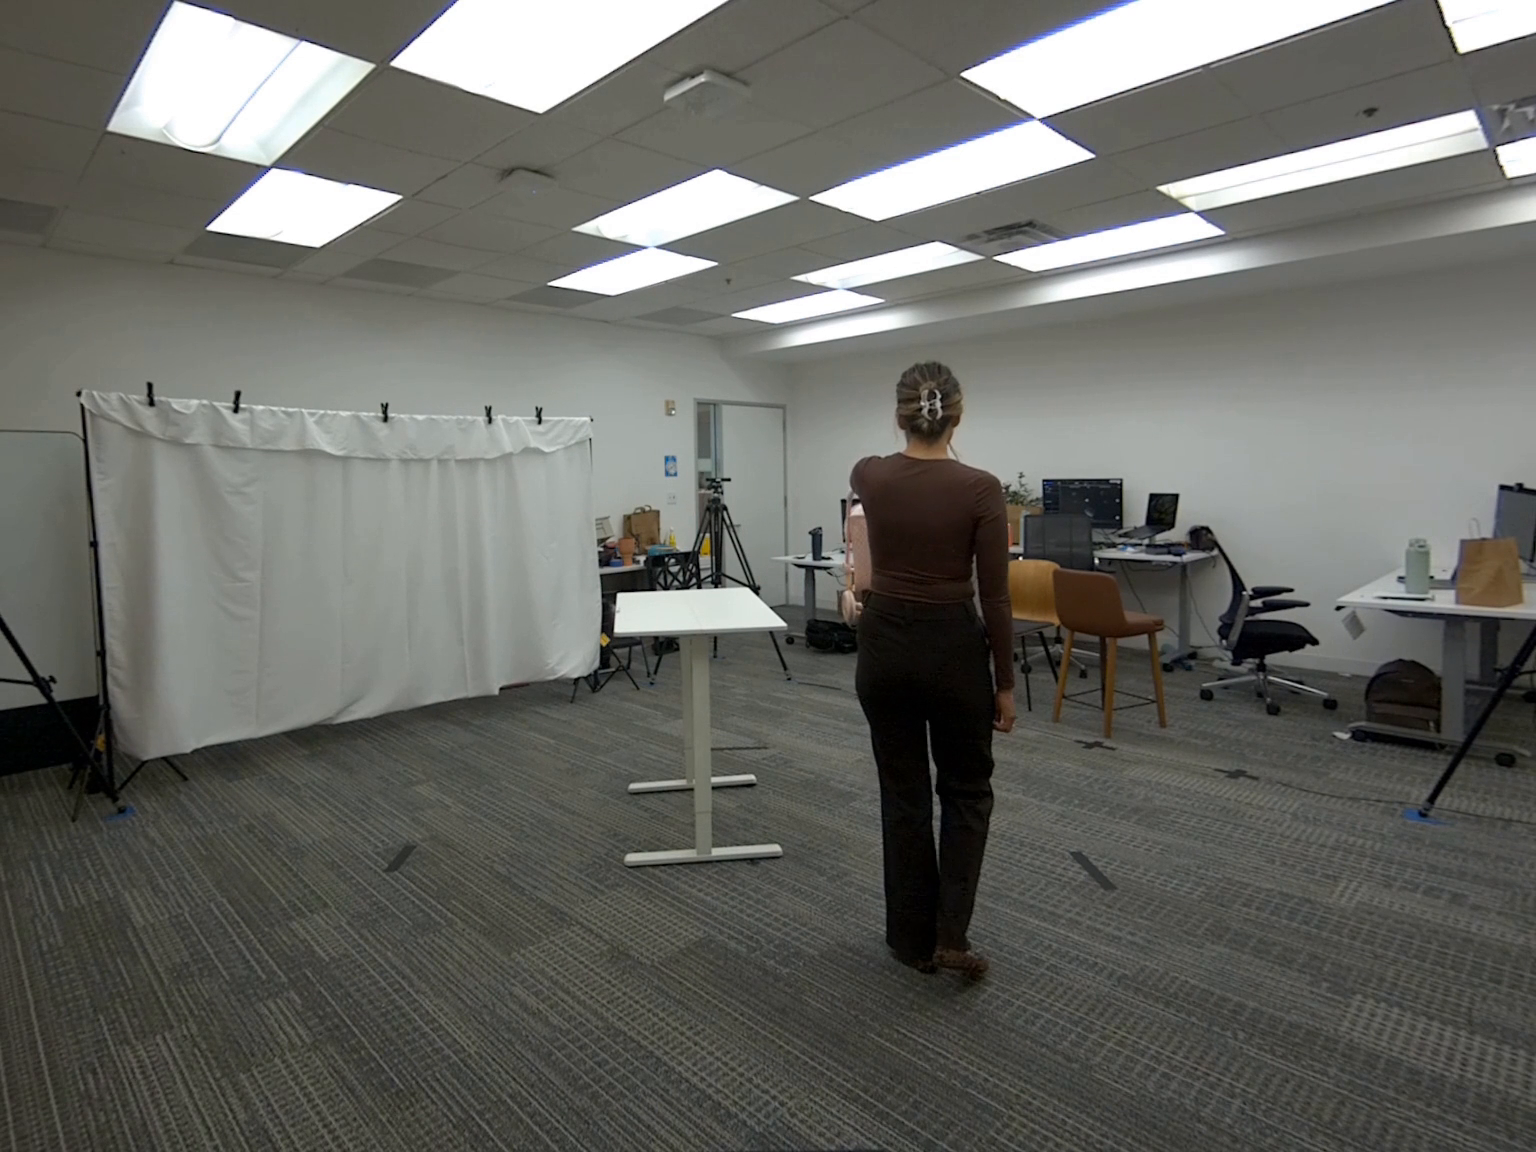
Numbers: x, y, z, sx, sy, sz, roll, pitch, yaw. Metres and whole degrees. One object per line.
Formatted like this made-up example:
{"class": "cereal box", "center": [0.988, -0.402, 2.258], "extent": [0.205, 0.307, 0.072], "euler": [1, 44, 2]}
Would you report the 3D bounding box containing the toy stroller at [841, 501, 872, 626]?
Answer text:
{"class": "toy stroller", "center": [0.395, -0.046, 3.109], "extent": [0.282, 0.539, 0.338], "euler": [-5, -6, 1]}
